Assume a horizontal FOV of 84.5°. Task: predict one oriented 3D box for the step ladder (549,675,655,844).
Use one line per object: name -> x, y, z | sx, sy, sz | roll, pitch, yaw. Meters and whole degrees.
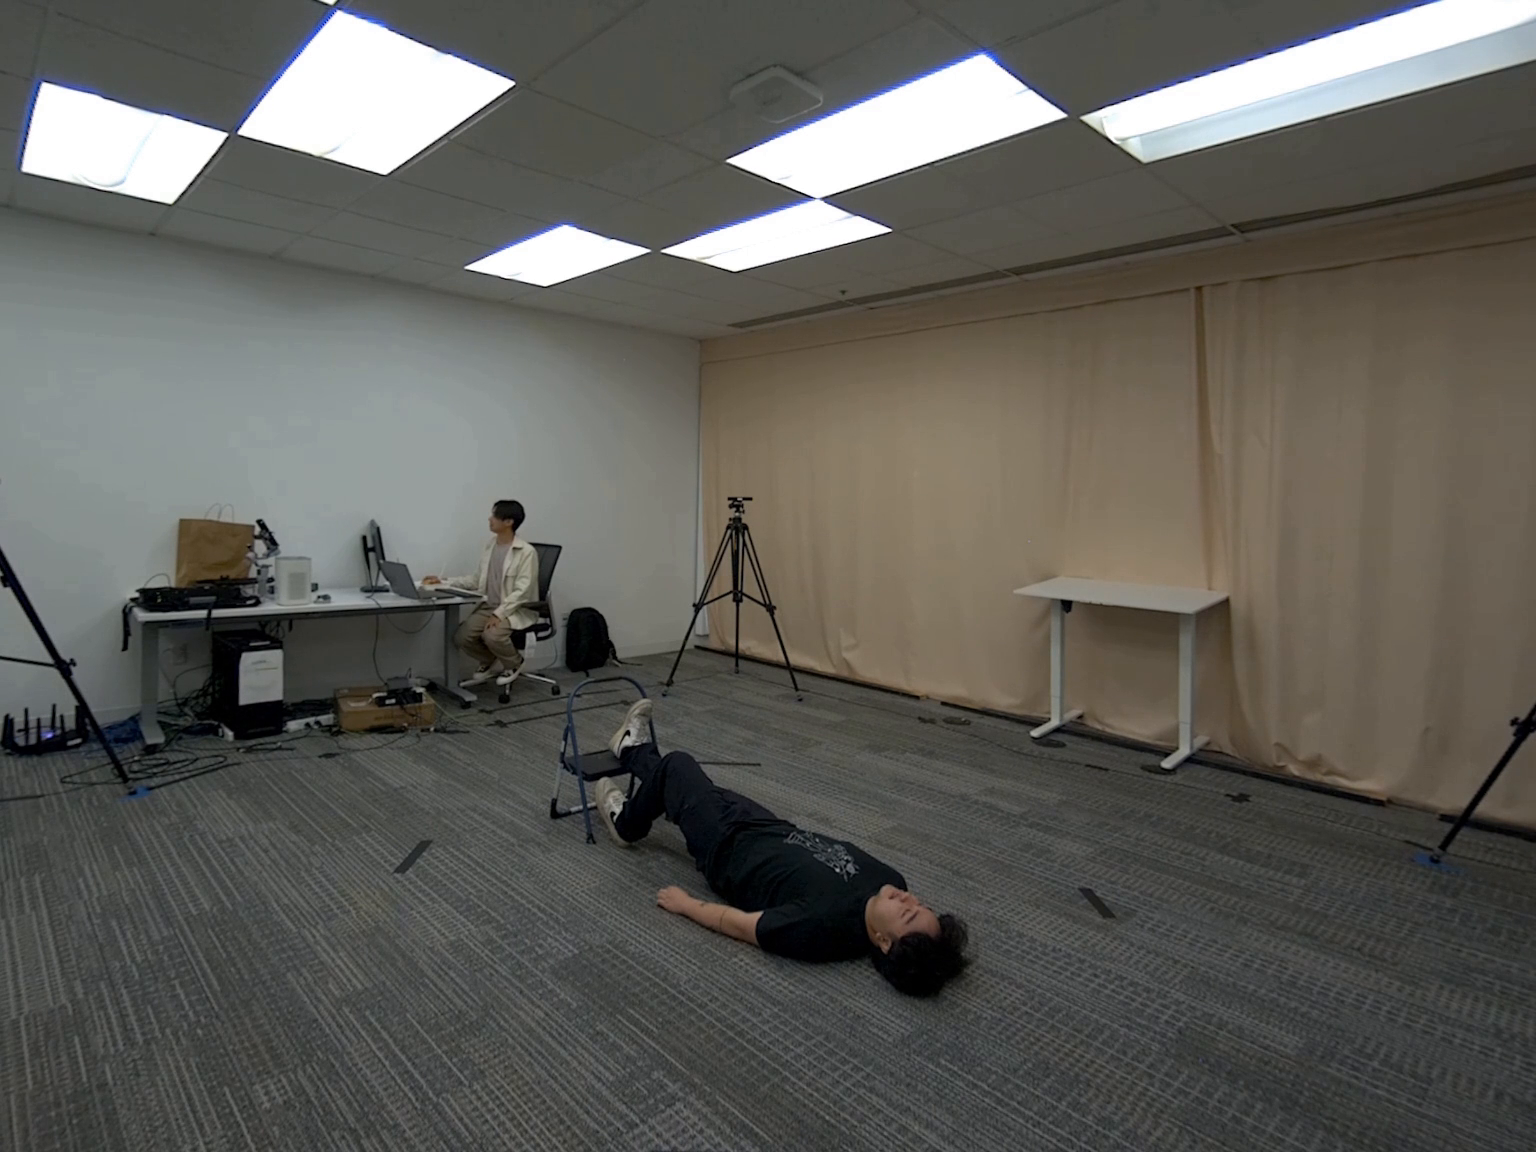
step ladder -> -0.677, 0.751, 3.620 | 0.420, 0.605, 0.358 | -1, 5, -43
